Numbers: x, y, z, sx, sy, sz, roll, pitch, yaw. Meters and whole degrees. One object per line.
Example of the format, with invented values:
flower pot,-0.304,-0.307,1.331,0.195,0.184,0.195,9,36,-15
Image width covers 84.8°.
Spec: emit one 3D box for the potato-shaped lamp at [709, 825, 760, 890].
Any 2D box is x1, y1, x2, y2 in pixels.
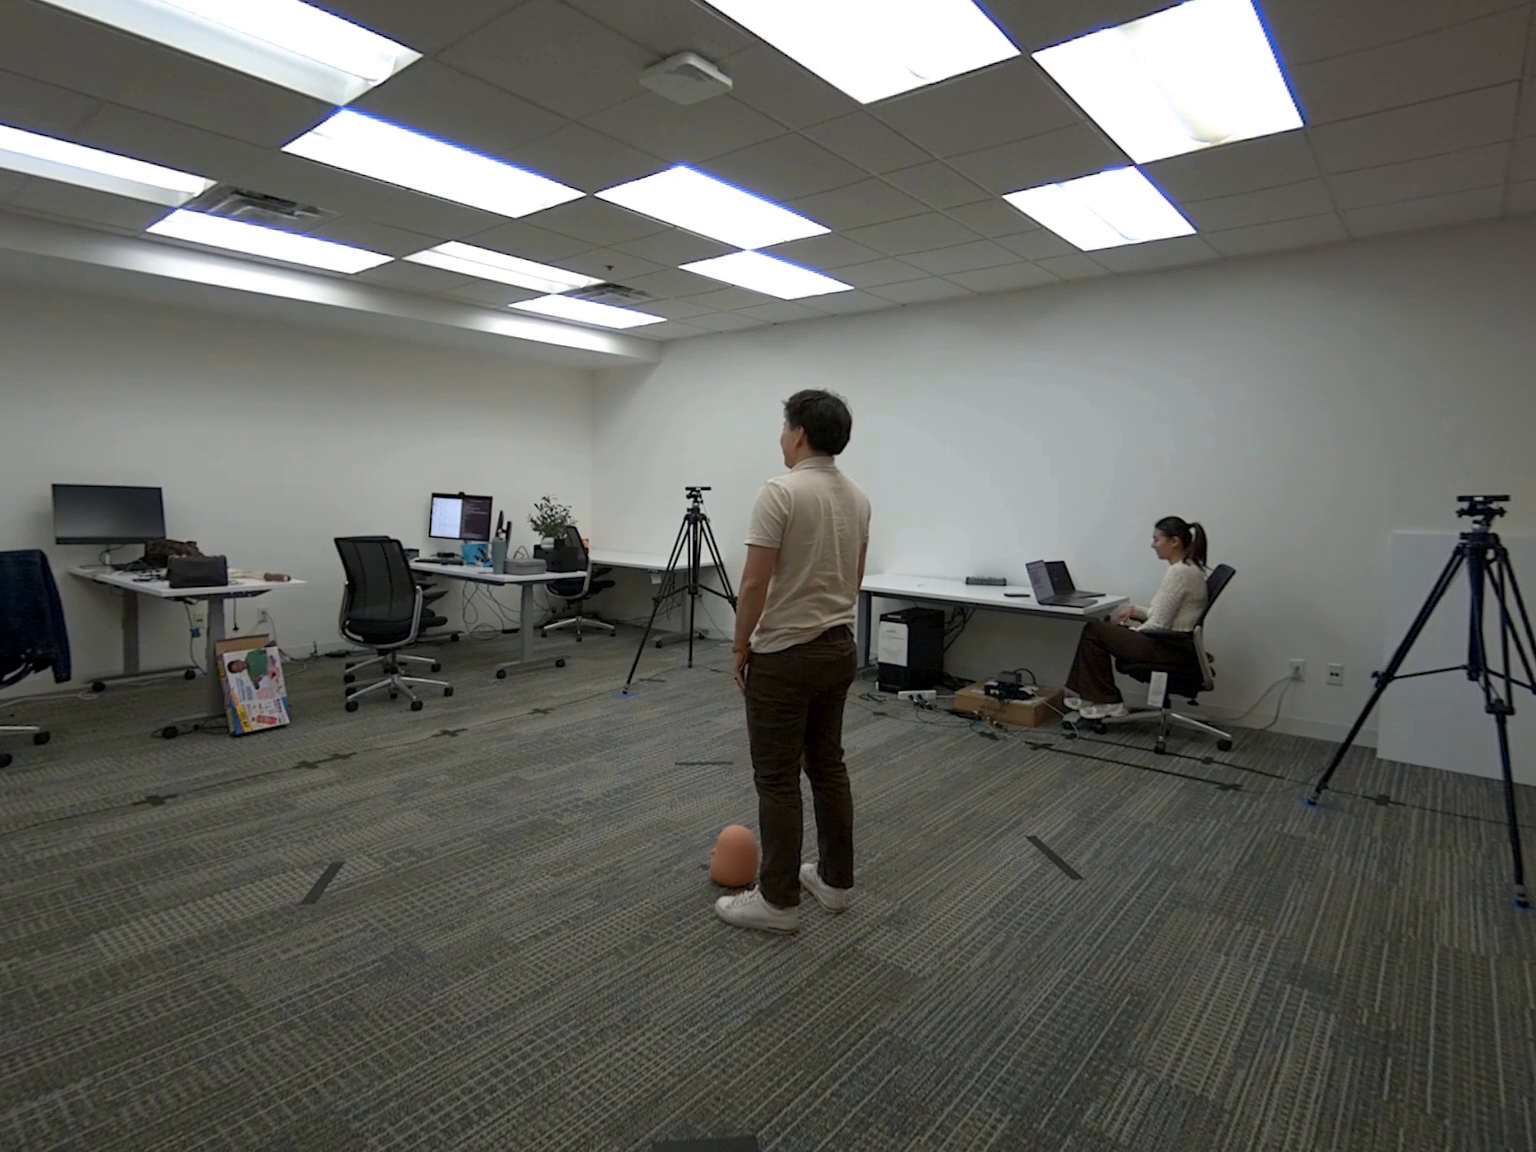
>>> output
potato-shaped lamp,-0.127,0.977,3.007,0.177,0.197,0.160,3,6,37
